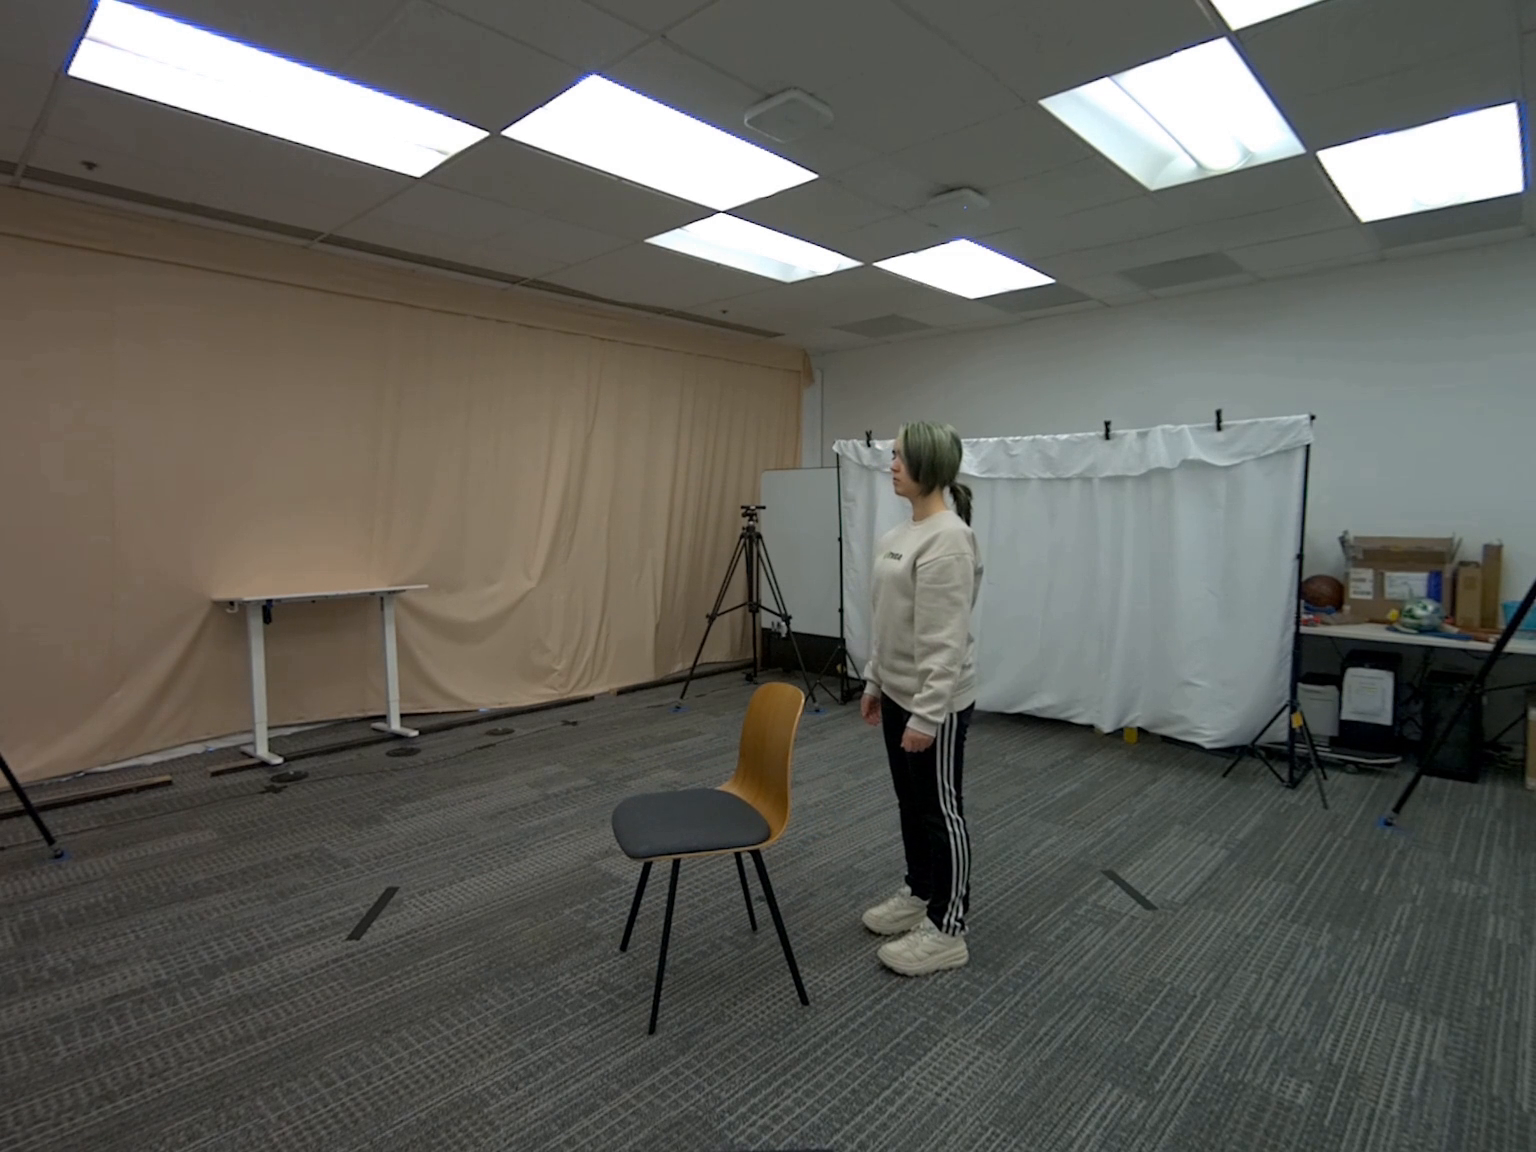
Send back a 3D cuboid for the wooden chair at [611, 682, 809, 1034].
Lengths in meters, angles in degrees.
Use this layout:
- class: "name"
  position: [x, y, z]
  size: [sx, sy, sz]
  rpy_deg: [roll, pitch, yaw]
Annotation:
- class: "wooden chair"
  position: [-0.183, 0.765, 2.472]
  size: [0.513, 0.876, 0.488]
  rpy_deg: [3, 2, -19]
